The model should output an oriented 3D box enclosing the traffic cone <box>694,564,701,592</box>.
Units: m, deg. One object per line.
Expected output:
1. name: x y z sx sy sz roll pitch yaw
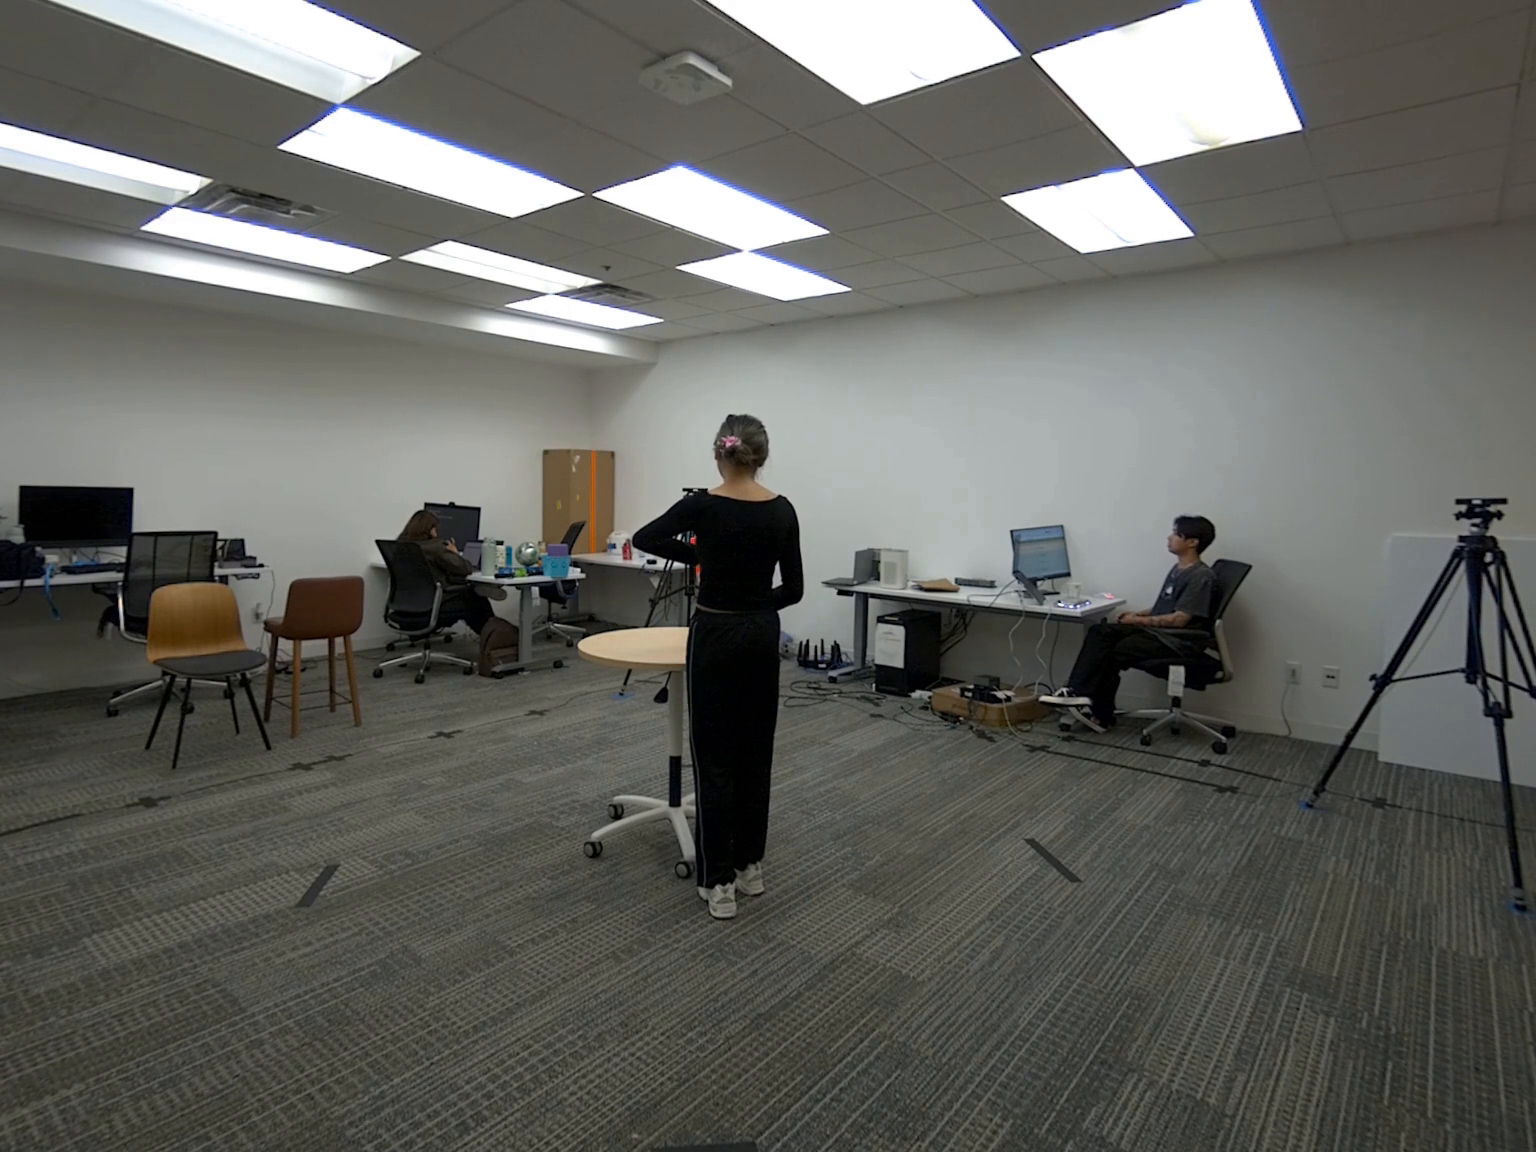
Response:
1. traffic cone: -0.215 0.037 3.144 0.205 0.381 0.205 -18 6 12
